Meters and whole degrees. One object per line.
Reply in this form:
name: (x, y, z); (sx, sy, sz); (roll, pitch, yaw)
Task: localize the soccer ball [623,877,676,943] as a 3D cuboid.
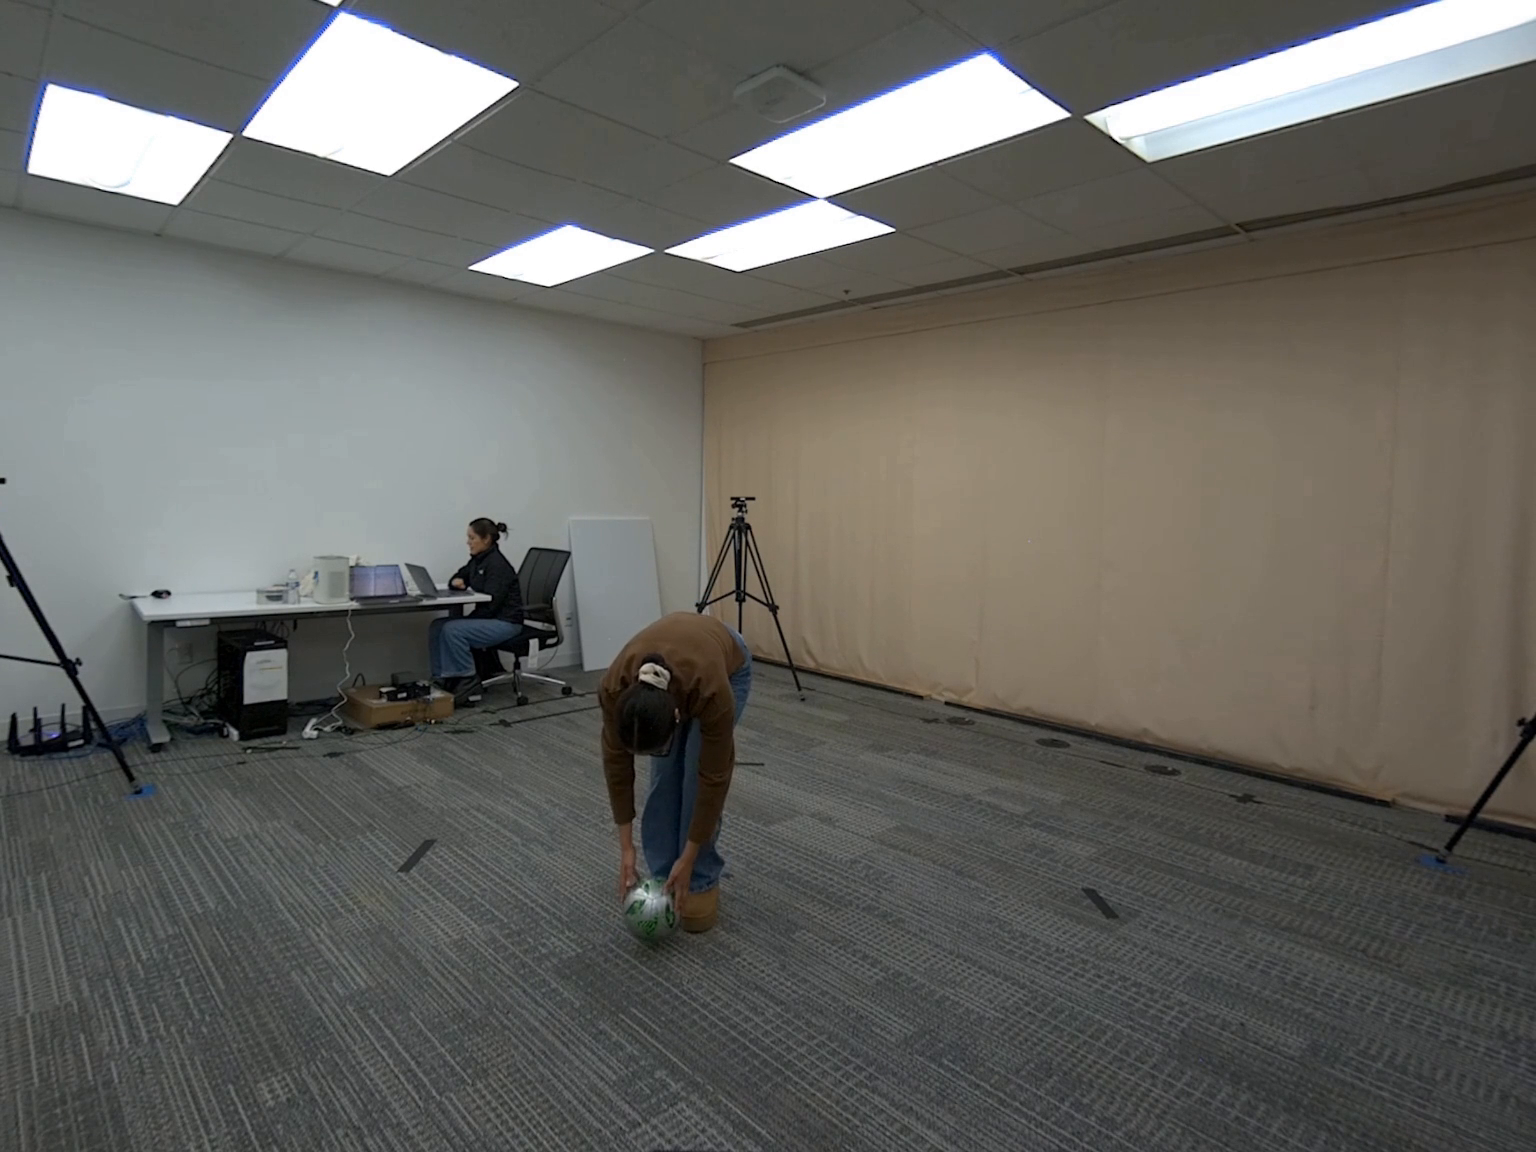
soccer ball: (-0.373, 1.017, 2.588); (0.187, 0.187, 0.188); (1, 4, -1)
